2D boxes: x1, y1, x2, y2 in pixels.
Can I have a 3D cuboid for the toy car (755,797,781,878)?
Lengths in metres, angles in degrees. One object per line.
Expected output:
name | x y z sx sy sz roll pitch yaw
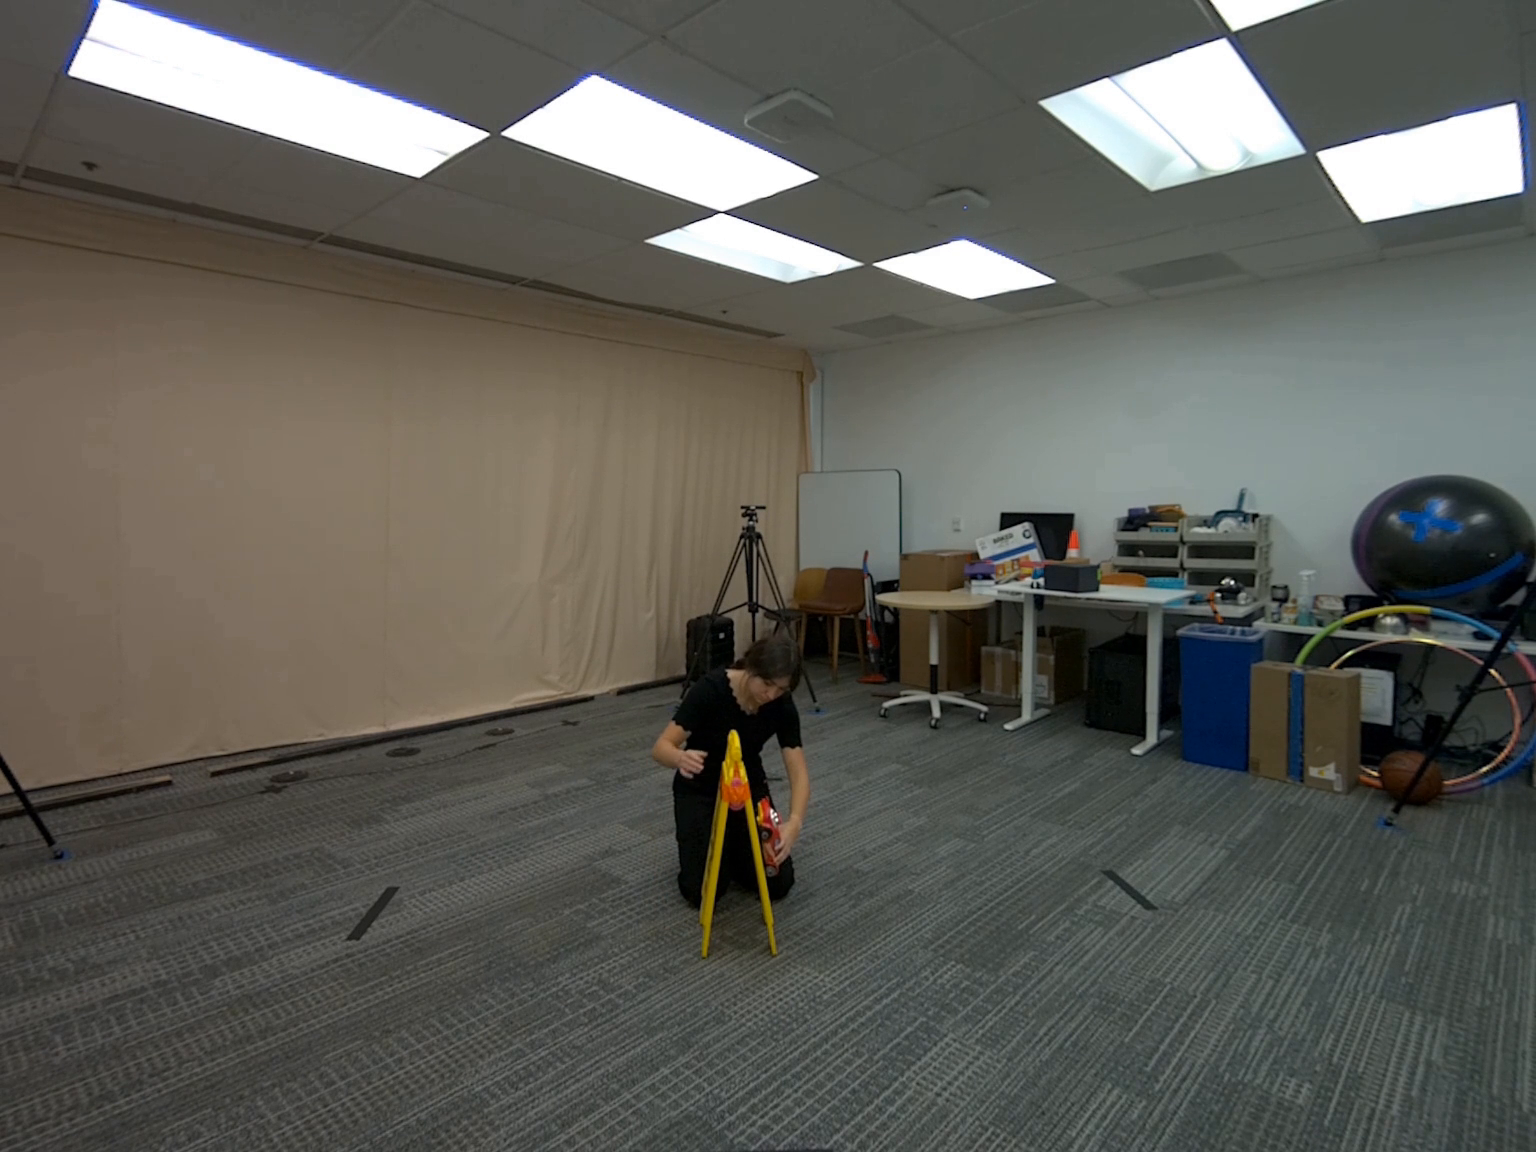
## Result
toy car | -0.001 0.844 2.716 0.082 0.252 0.132 4 18 -9
